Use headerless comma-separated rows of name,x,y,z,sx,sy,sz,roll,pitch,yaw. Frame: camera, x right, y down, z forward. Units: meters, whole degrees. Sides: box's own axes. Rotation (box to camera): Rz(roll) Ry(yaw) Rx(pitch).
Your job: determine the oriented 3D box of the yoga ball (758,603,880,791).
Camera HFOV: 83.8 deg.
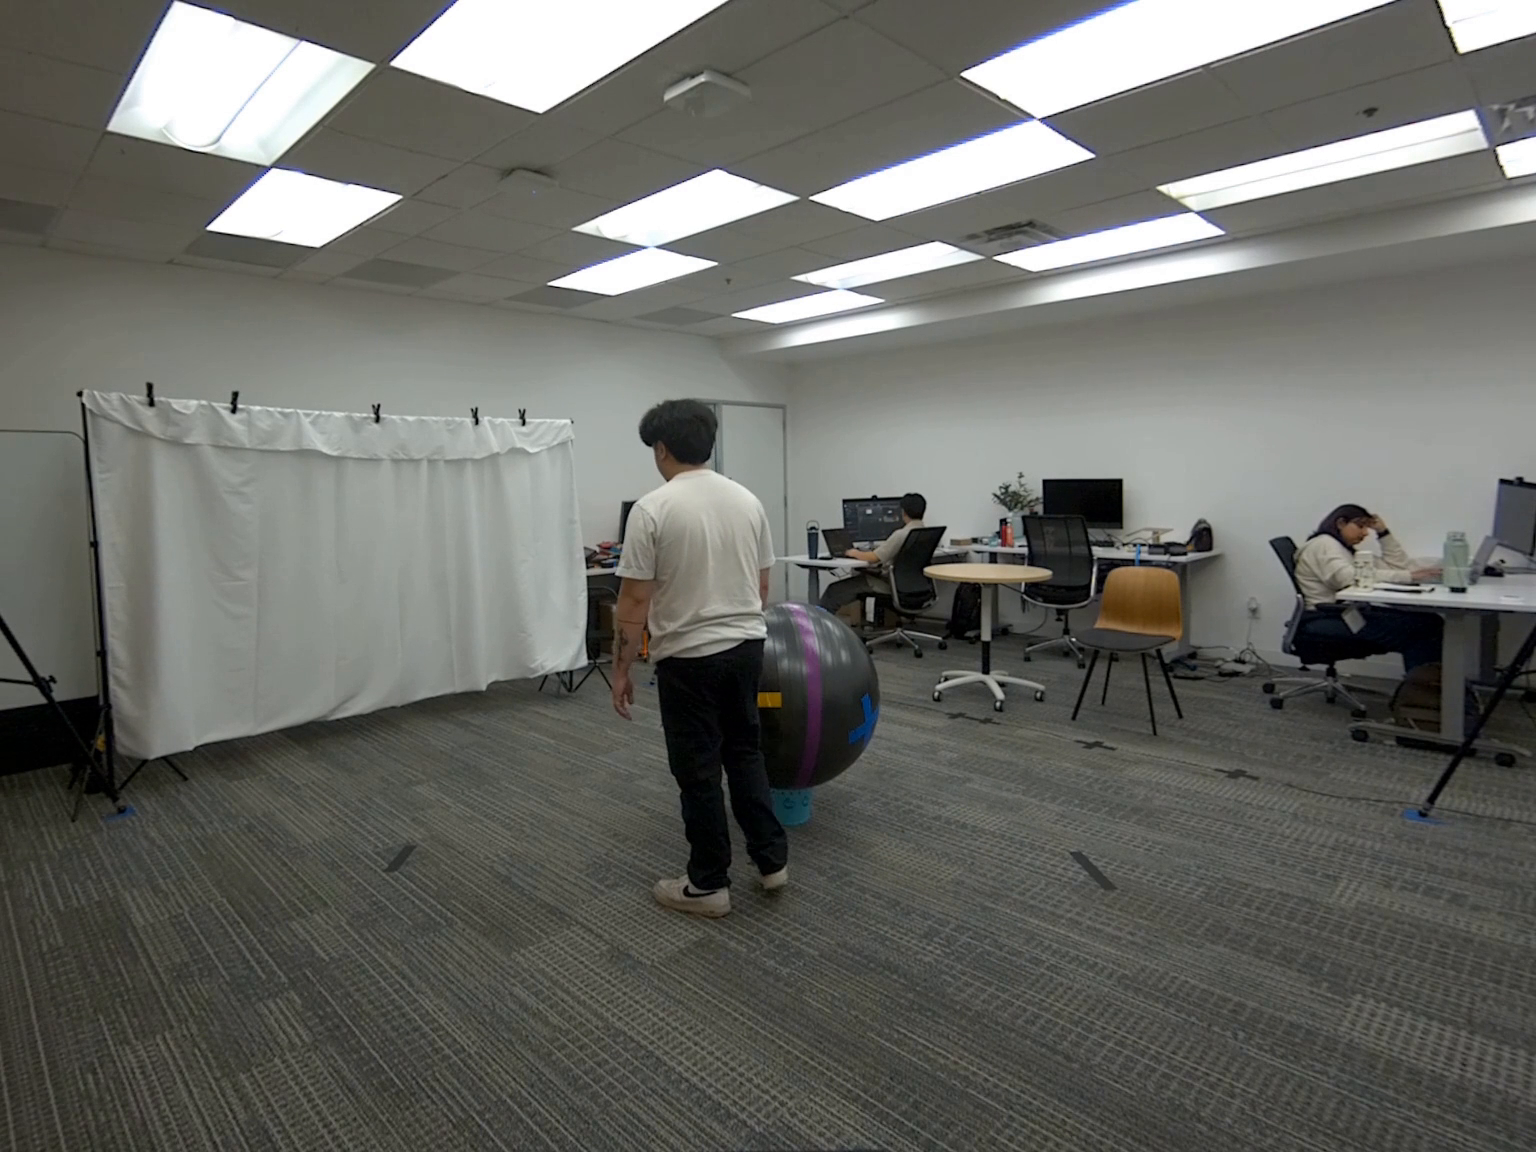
yoga ball,0.070,0.487,3.499,0.757,0.755,0.762,-1,5,-2
